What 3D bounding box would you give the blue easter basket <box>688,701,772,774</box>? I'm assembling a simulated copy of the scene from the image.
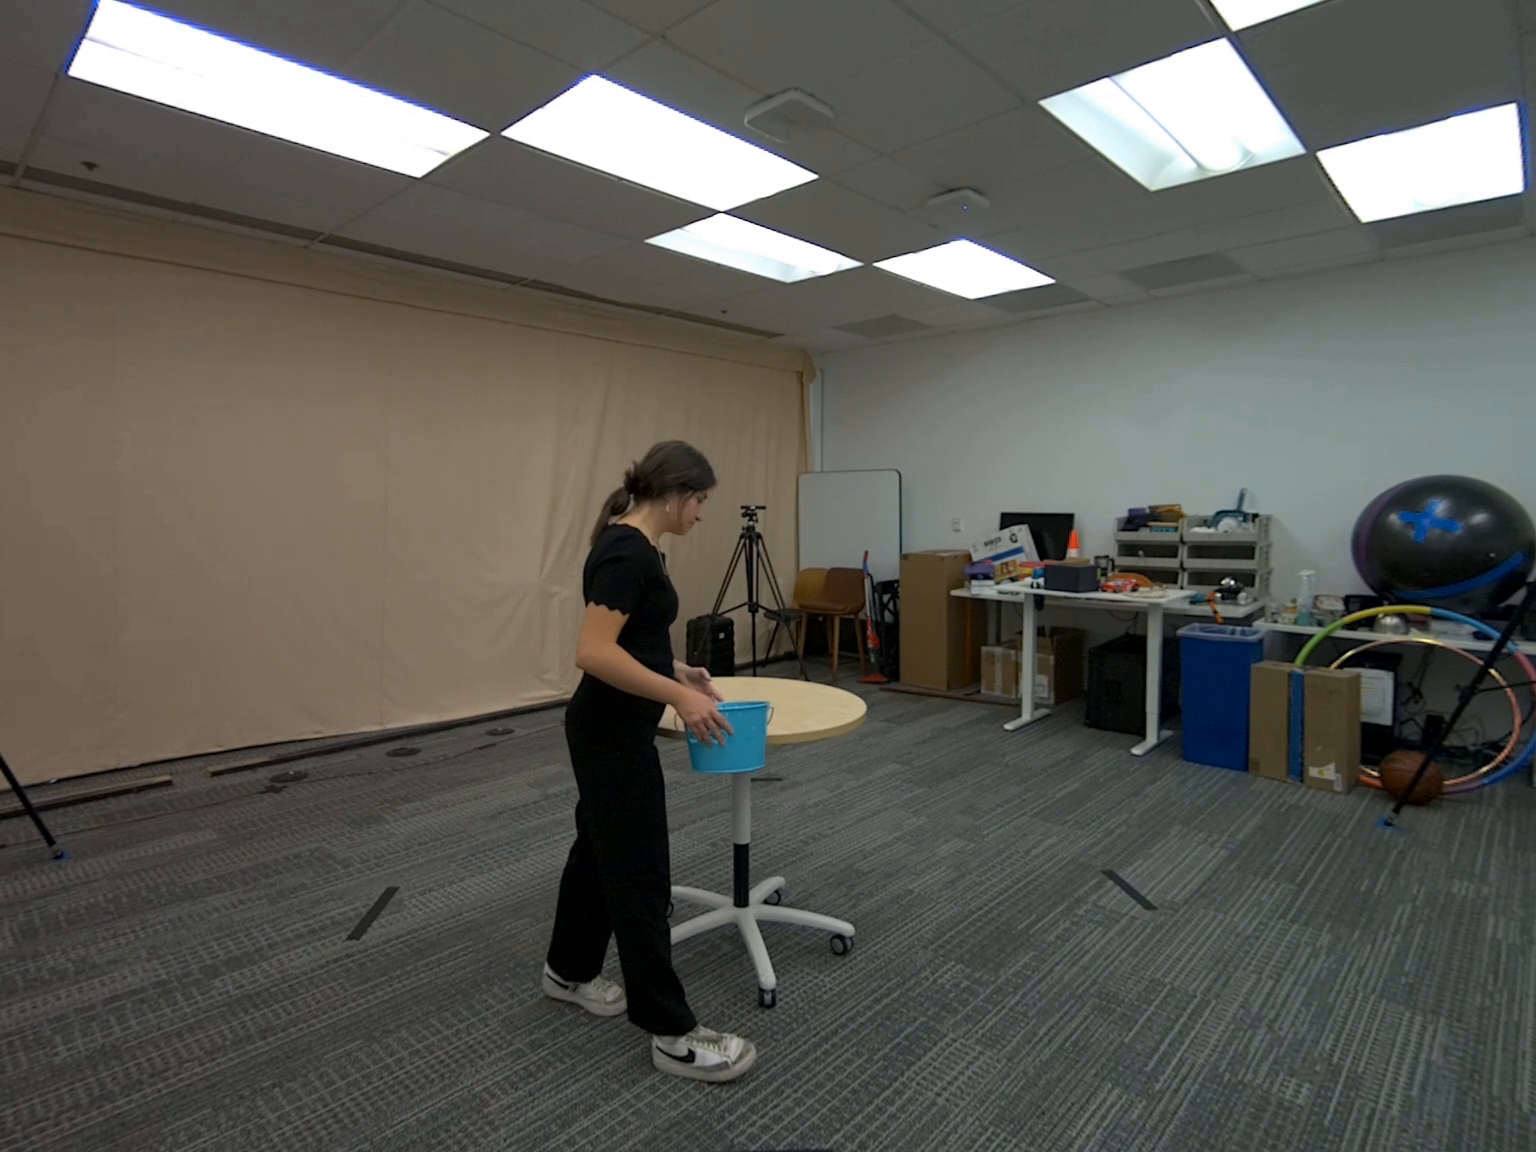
[{"bbox_3d":[-0.116,0.395,2.065,0.243,0.156,0.243,-1,-4,-2],"label":"blue easter basket"}]
